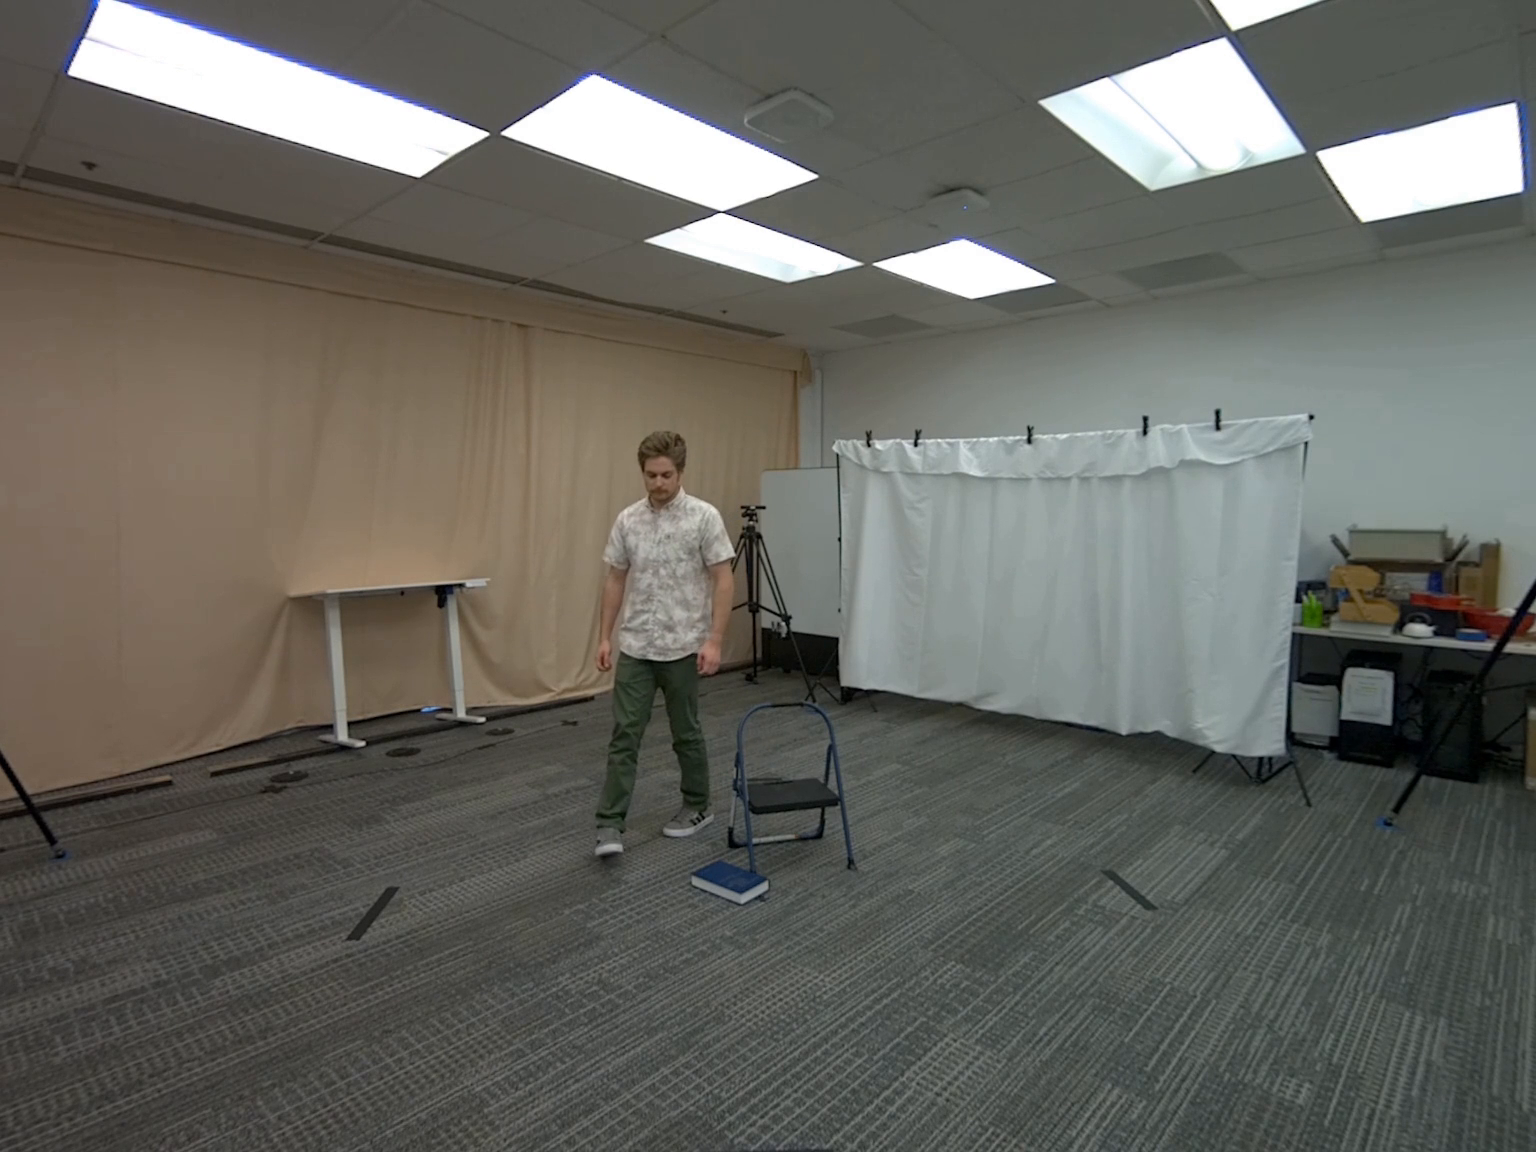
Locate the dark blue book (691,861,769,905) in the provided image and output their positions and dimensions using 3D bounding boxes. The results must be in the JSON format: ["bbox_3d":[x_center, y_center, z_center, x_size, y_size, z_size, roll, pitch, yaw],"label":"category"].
[{"bbox_3d":[-0.137,1.109,3.070,0.253,0.045,0.158,4,7,39],"label":"dark blue book"}]
